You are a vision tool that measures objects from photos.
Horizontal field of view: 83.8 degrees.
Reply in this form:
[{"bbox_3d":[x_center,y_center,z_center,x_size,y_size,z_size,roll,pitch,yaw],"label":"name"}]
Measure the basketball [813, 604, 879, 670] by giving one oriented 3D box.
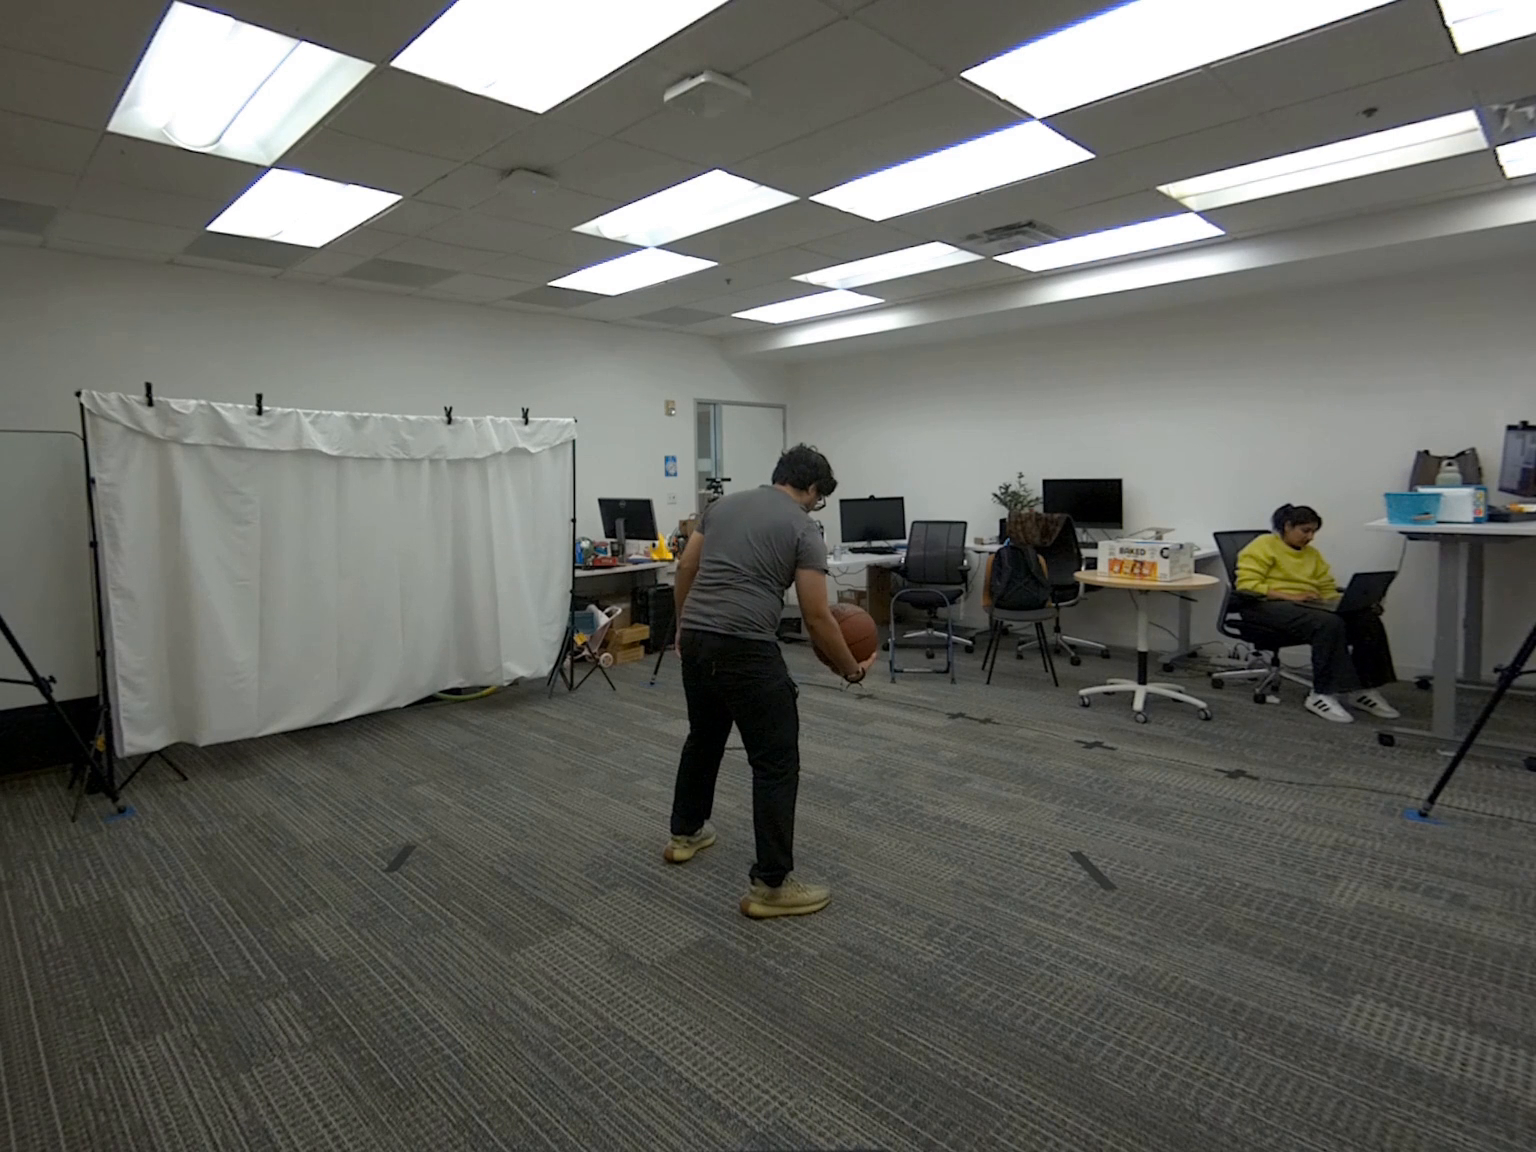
[{"bbox_3d":[0.272,0.222,3.028,0.236,0.235,0.237,-1,5,-2],"label":"basketball"}]
